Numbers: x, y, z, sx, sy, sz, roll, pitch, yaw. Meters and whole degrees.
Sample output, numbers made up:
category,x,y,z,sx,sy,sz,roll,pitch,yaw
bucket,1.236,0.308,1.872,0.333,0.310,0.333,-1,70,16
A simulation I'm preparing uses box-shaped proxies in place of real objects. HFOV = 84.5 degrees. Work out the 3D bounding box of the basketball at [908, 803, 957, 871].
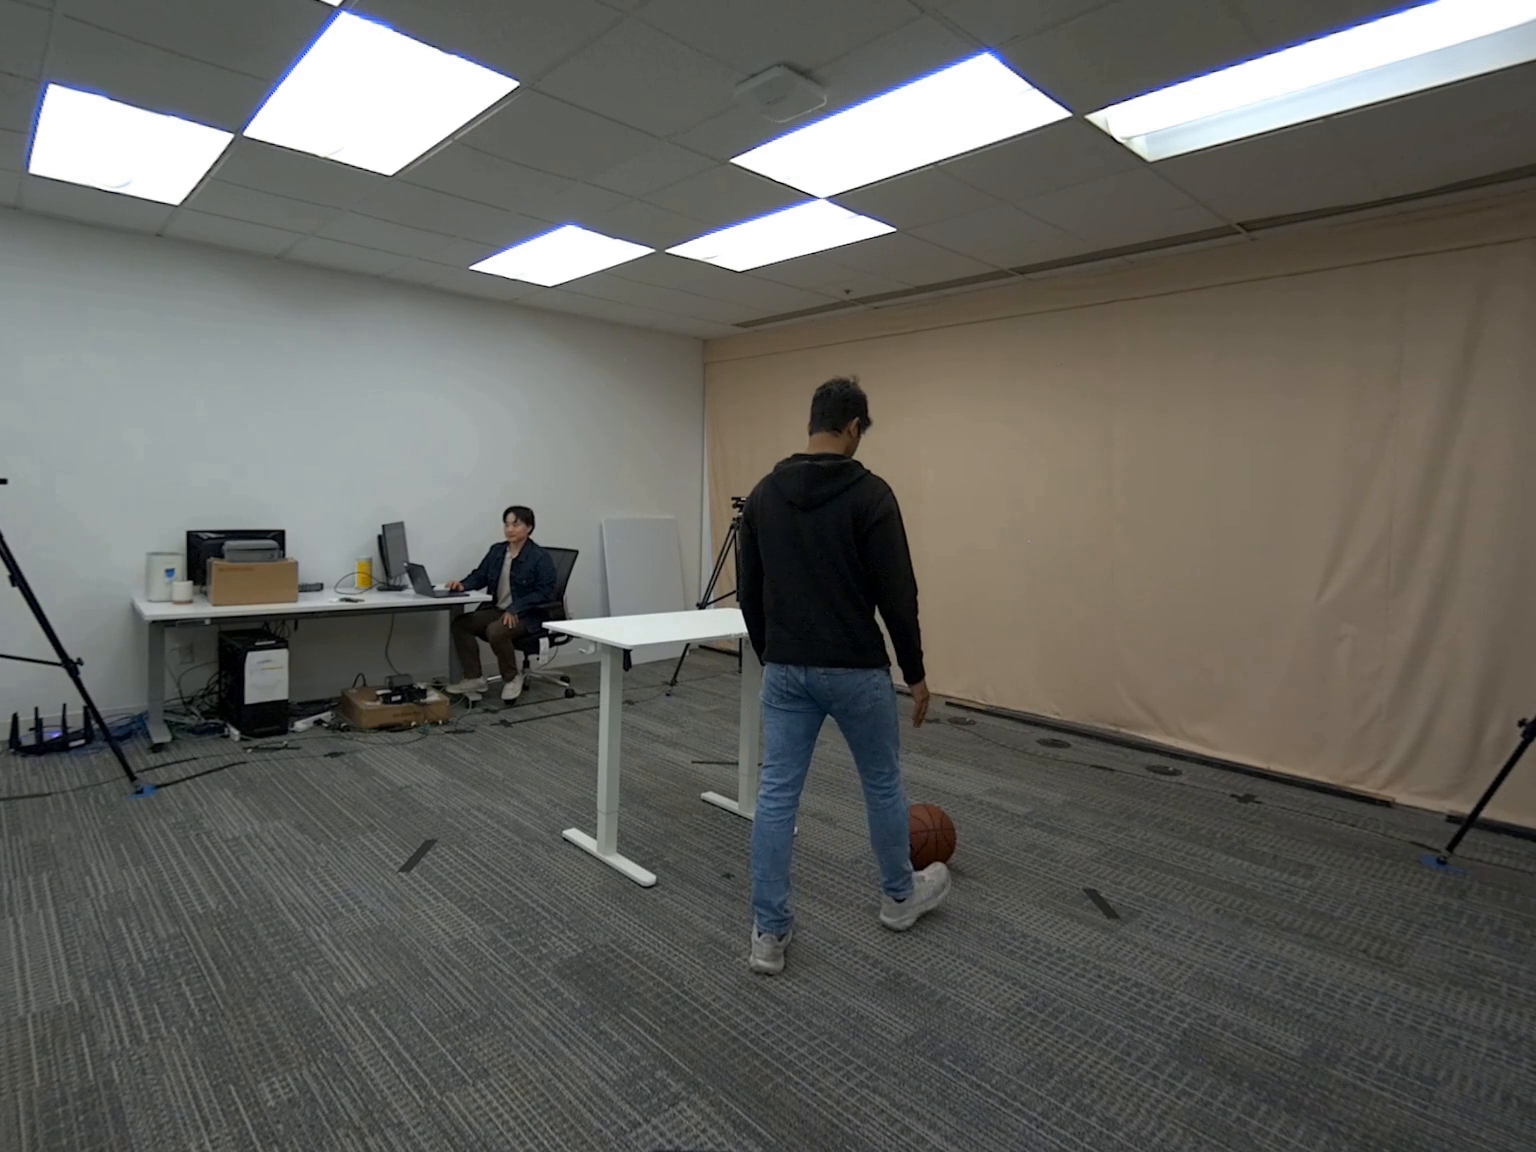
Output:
category,x,y,z,sx,sy,sz,roll,pitch,yaw
basketball,0.592,0.991,3.225,0.236,0.235,0.237,1,4,-1
